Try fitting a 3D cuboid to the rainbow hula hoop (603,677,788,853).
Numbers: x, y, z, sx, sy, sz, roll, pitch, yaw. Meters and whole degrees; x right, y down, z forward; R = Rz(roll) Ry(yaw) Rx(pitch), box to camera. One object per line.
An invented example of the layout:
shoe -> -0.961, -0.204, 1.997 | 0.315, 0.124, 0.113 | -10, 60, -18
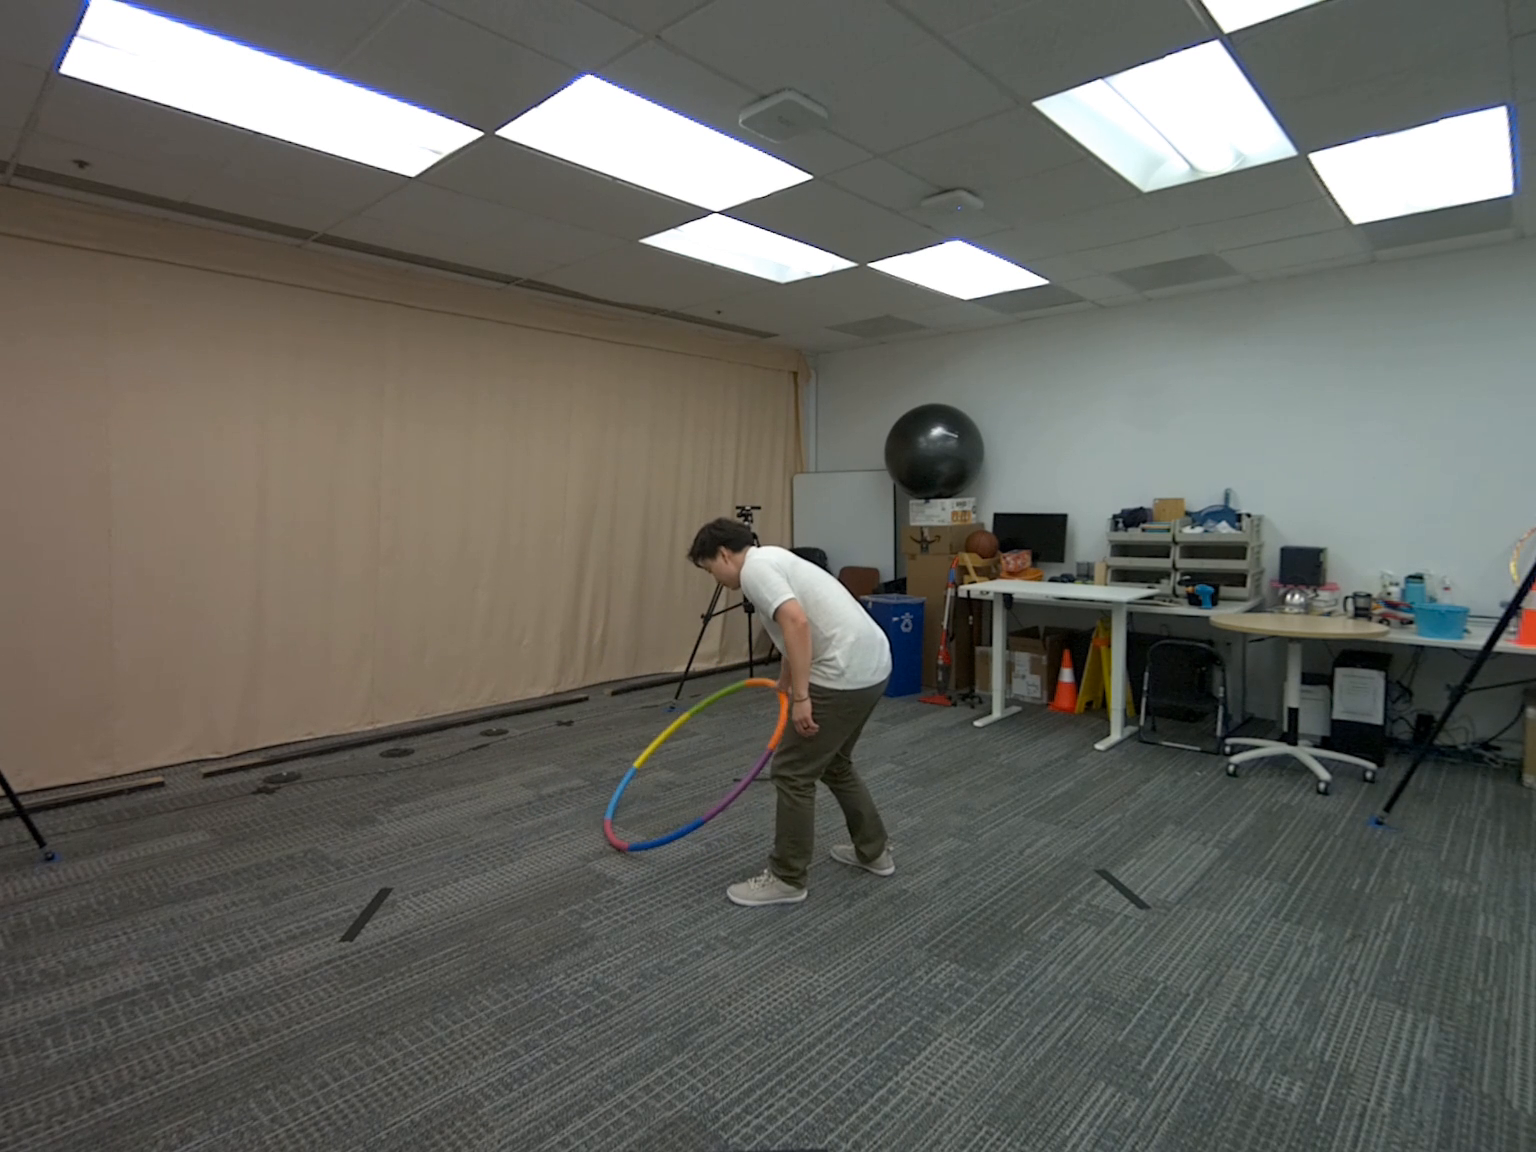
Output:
rainbow hula hoop -> -0.334, 0.784, 3.625 | 0.983, 0.035, 0.990 | -35, 17, 8
